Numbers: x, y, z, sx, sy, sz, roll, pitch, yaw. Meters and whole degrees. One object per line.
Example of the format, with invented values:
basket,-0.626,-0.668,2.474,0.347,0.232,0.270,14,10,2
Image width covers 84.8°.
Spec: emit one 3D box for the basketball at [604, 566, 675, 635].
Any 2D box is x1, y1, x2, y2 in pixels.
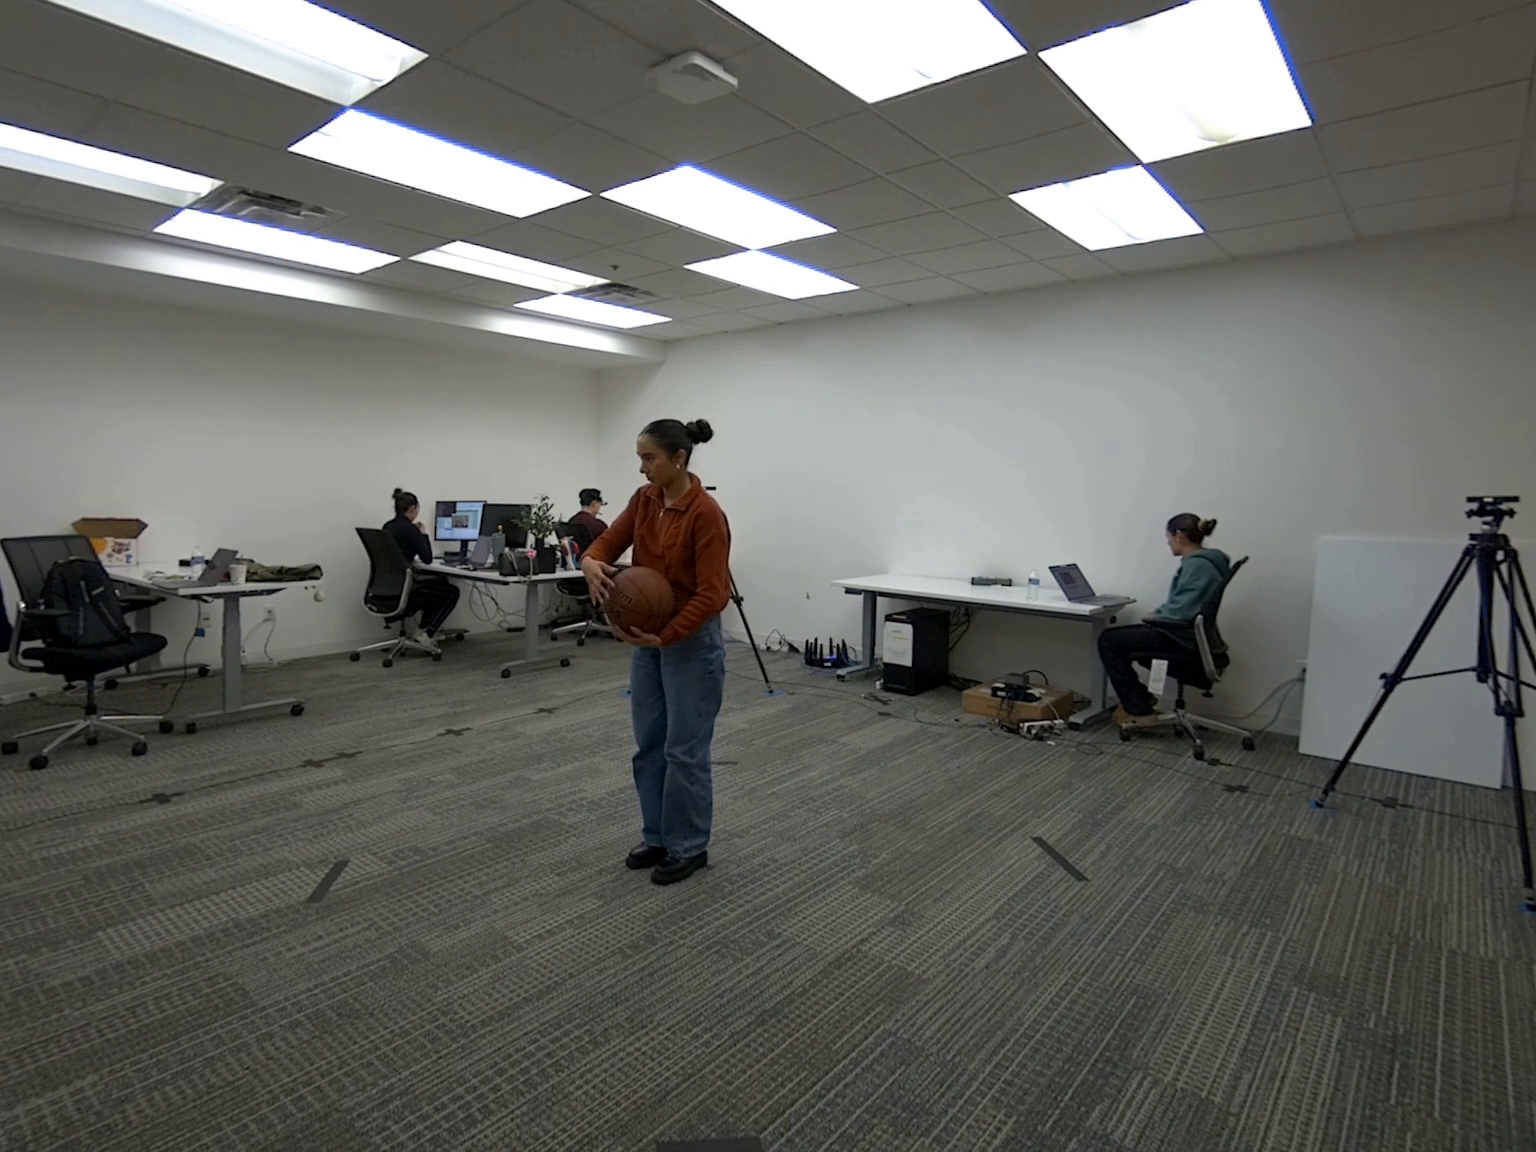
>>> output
basketball,-0.456,0.082,2.862,0.235,0.235,0.237,1,4,-2
